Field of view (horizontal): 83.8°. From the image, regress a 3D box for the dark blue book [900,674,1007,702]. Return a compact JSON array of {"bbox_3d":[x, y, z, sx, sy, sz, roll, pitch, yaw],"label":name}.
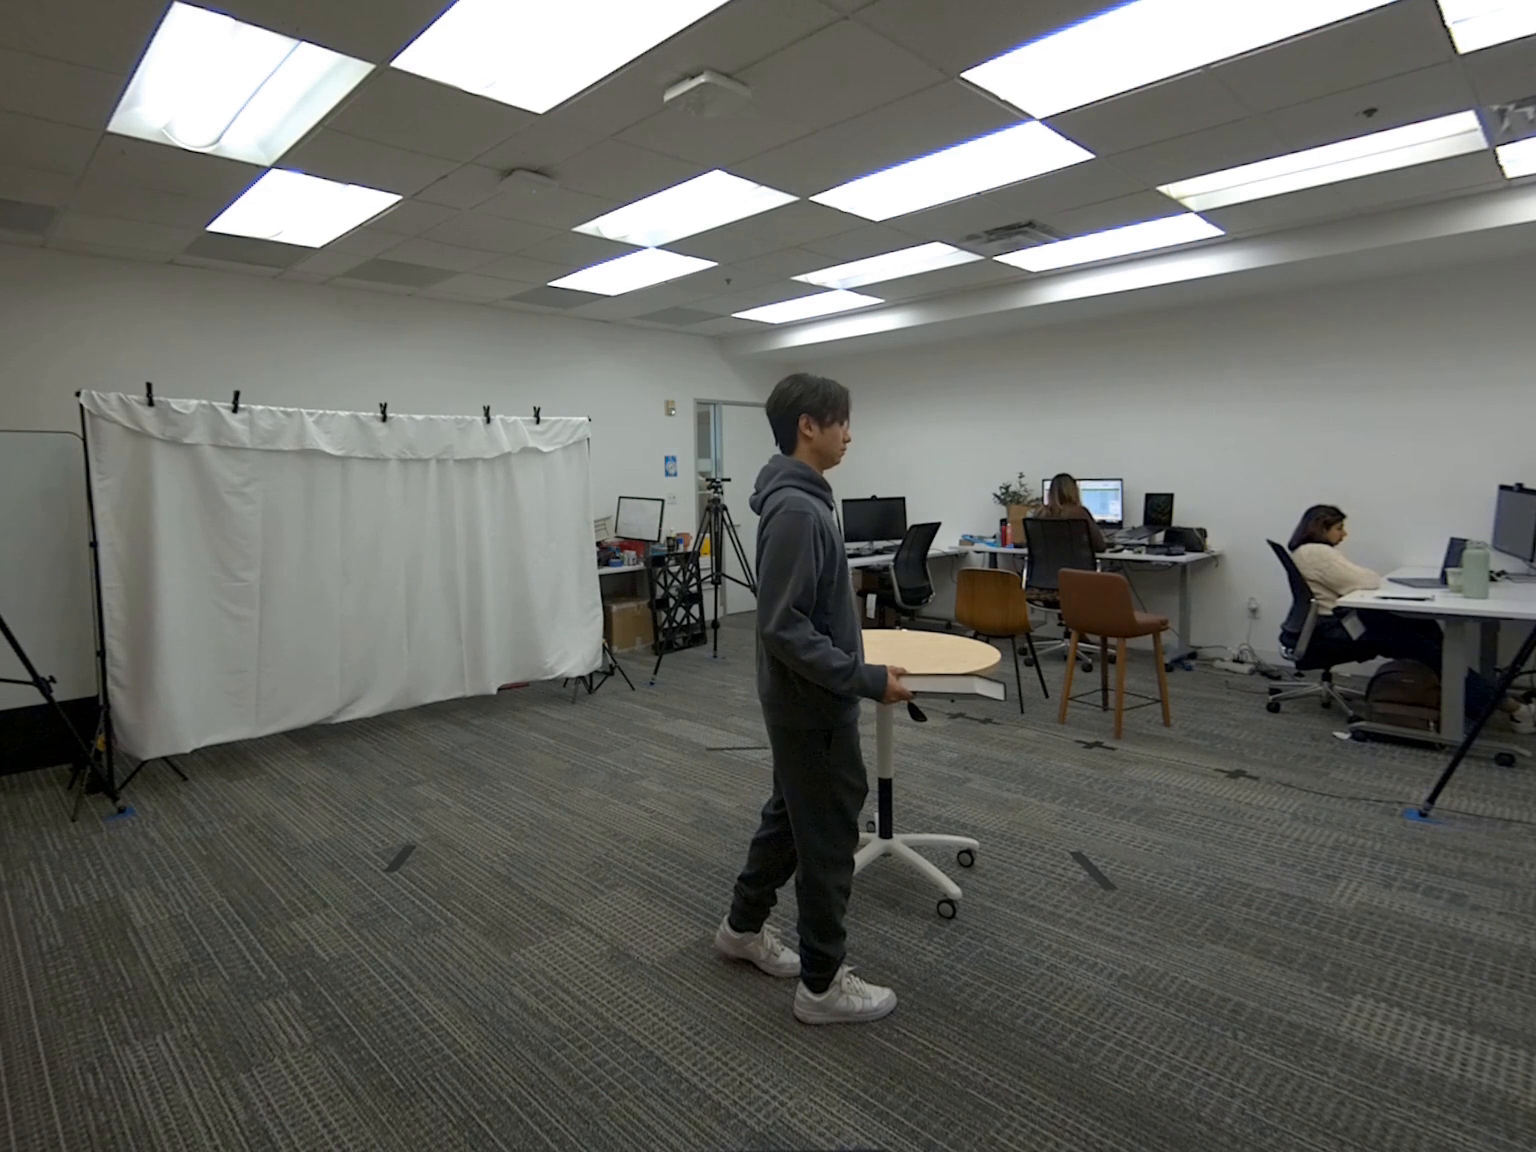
[{"bbox_3d":[0.415,0.262,2.022,0.251,0.045,0.157,-5,-15,39],"label":"dark blue book"}]
